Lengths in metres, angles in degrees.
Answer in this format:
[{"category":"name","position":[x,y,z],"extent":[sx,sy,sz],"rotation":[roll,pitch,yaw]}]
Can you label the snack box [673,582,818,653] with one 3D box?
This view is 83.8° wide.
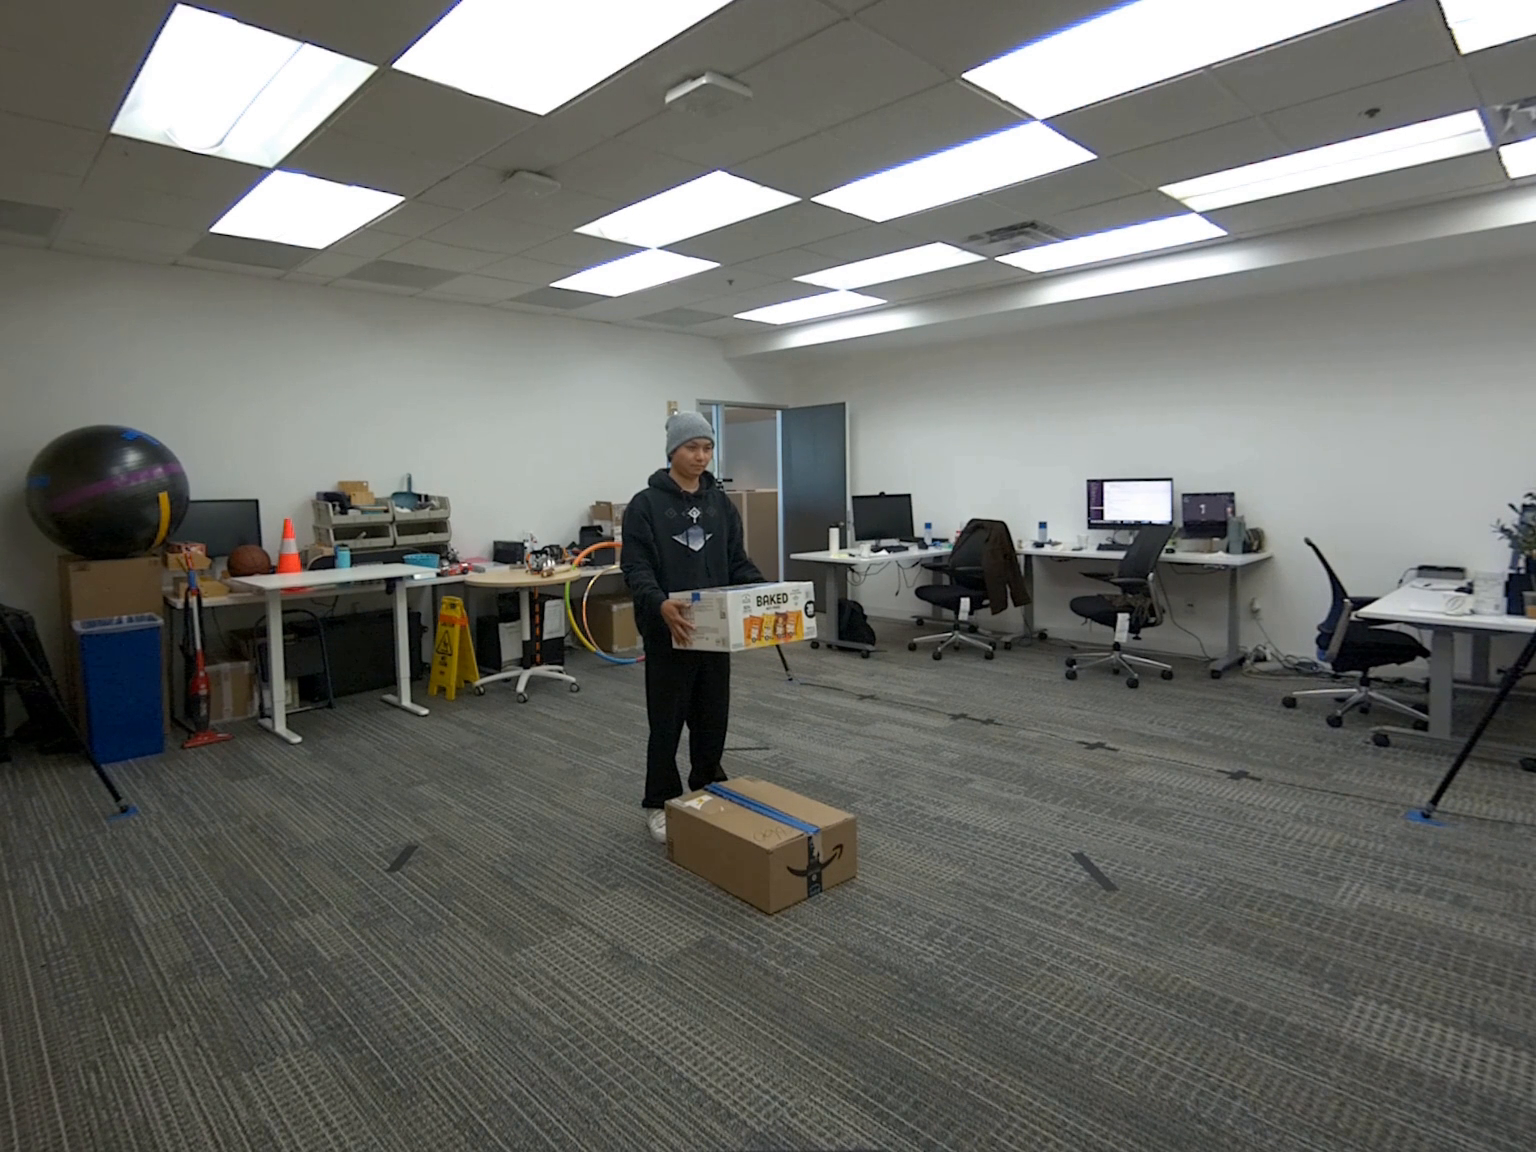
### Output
[{"category":"snack box","position":[-0.087,0.143,3.082],"extent":[0.394,0.206,0.349],"rotation":[-5,1,-39]}]
